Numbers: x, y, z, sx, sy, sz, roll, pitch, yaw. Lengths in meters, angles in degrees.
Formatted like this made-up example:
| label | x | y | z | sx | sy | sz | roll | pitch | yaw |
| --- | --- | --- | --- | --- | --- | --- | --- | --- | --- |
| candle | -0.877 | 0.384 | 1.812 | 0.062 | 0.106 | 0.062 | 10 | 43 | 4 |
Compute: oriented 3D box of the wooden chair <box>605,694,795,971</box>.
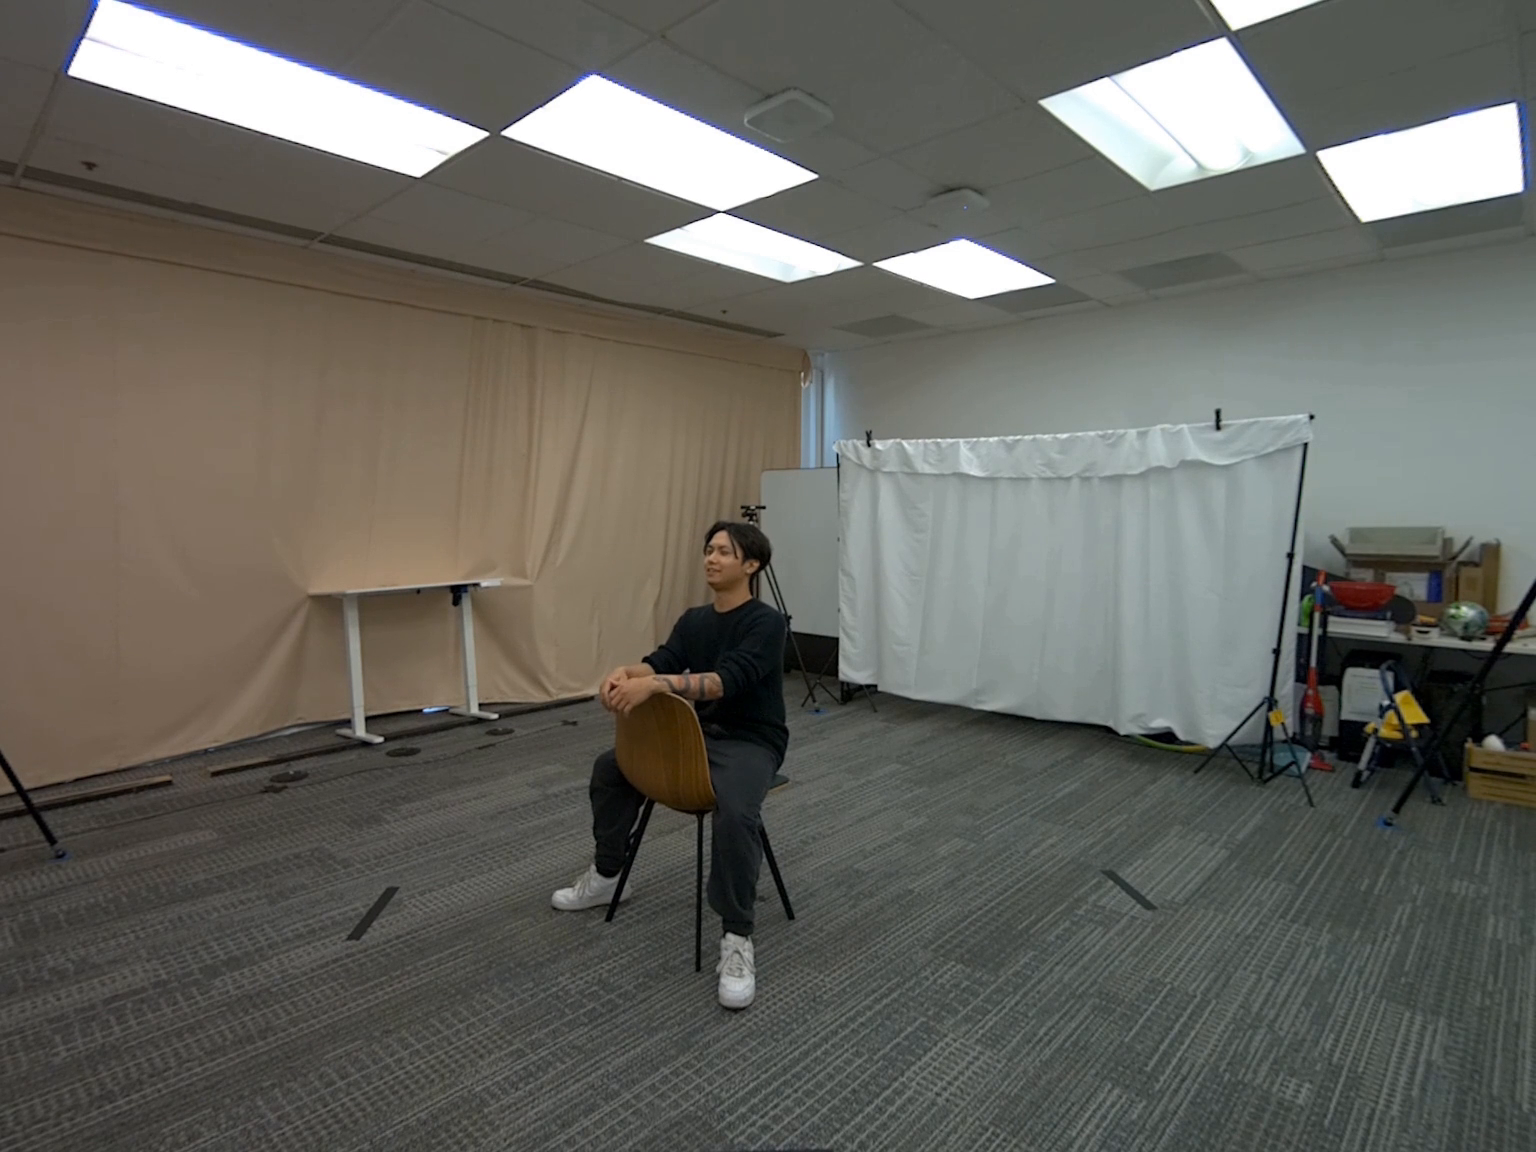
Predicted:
| label | x | y | z | sx | sy | sz | roll | pitch | yaw |
| --- | --- | --- | --- | --- | --- | --- | --- | --- | --- |
| wooden chair | -0.220 | 0.730 | 2.817 | 0.494 | 0.874 | 0.508 | 2 | 8 | 44 |
